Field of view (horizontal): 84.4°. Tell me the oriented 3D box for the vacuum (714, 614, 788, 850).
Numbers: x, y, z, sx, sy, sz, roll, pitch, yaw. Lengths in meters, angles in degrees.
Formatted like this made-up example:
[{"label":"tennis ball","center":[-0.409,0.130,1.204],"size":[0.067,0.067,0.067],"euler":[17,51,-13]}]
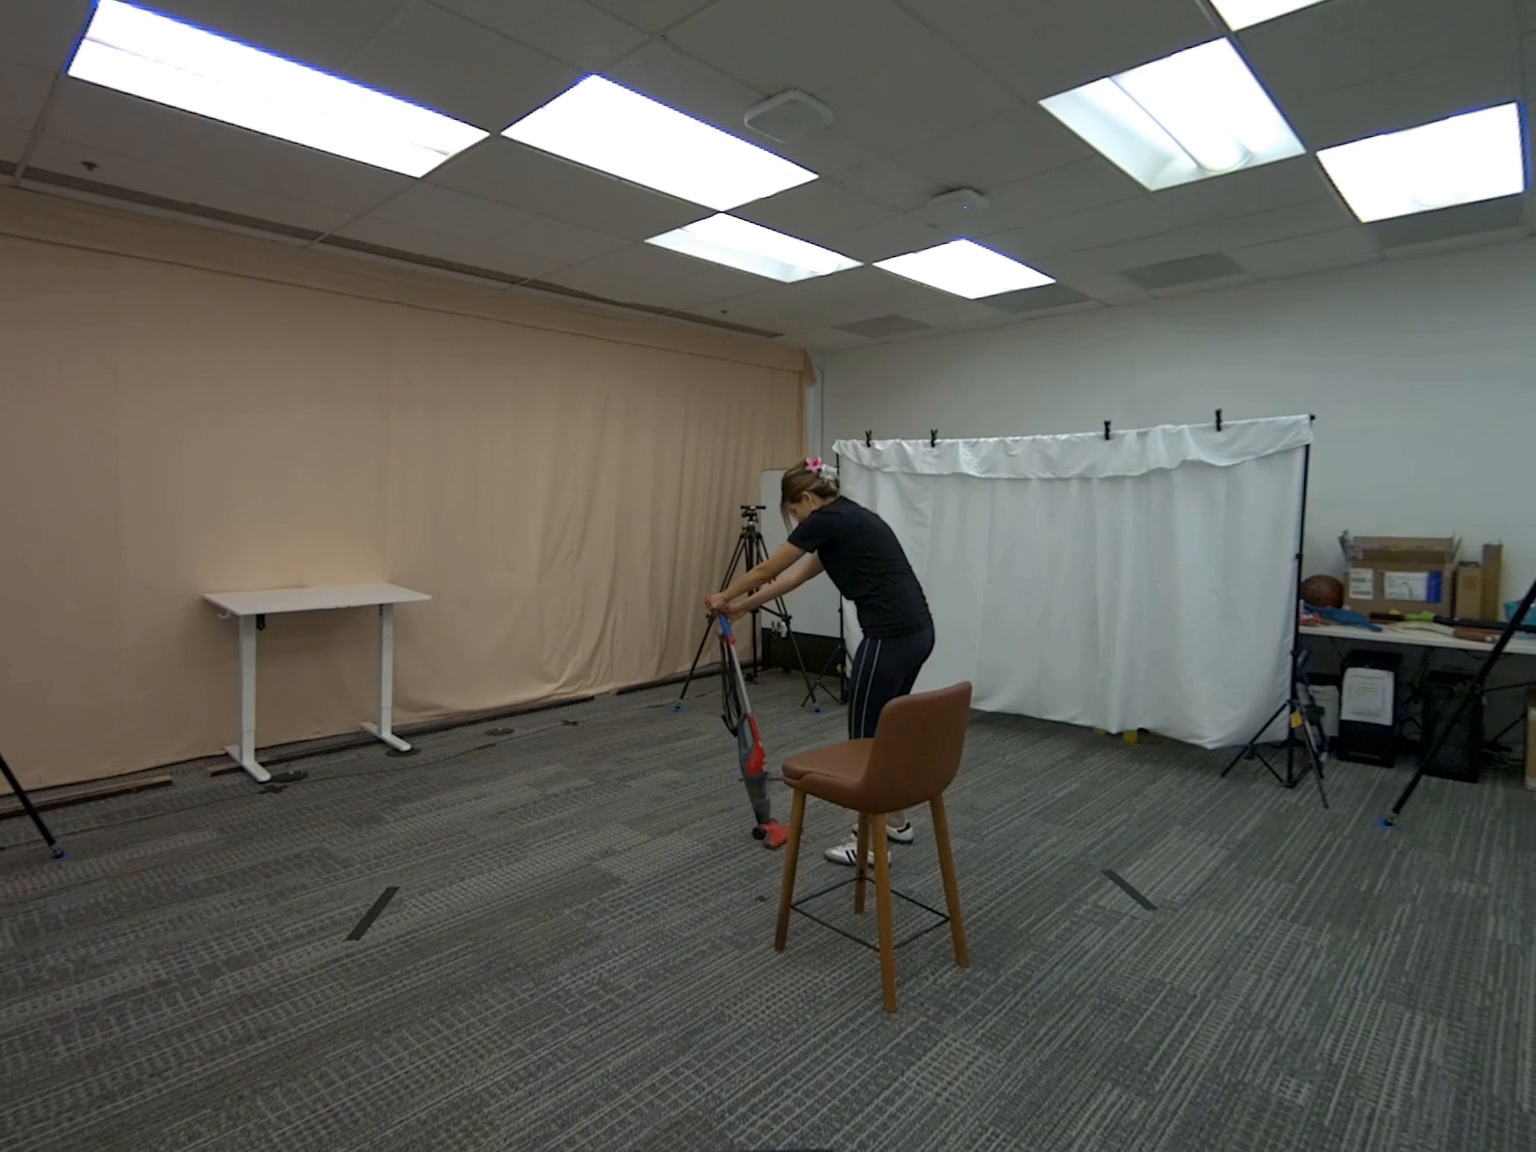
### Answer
[{"label":"vacuum","center":[-0.108,0.601,3.619],"size":[0.147,1.059,0.245],"euler":[-24,-12,35]}]
